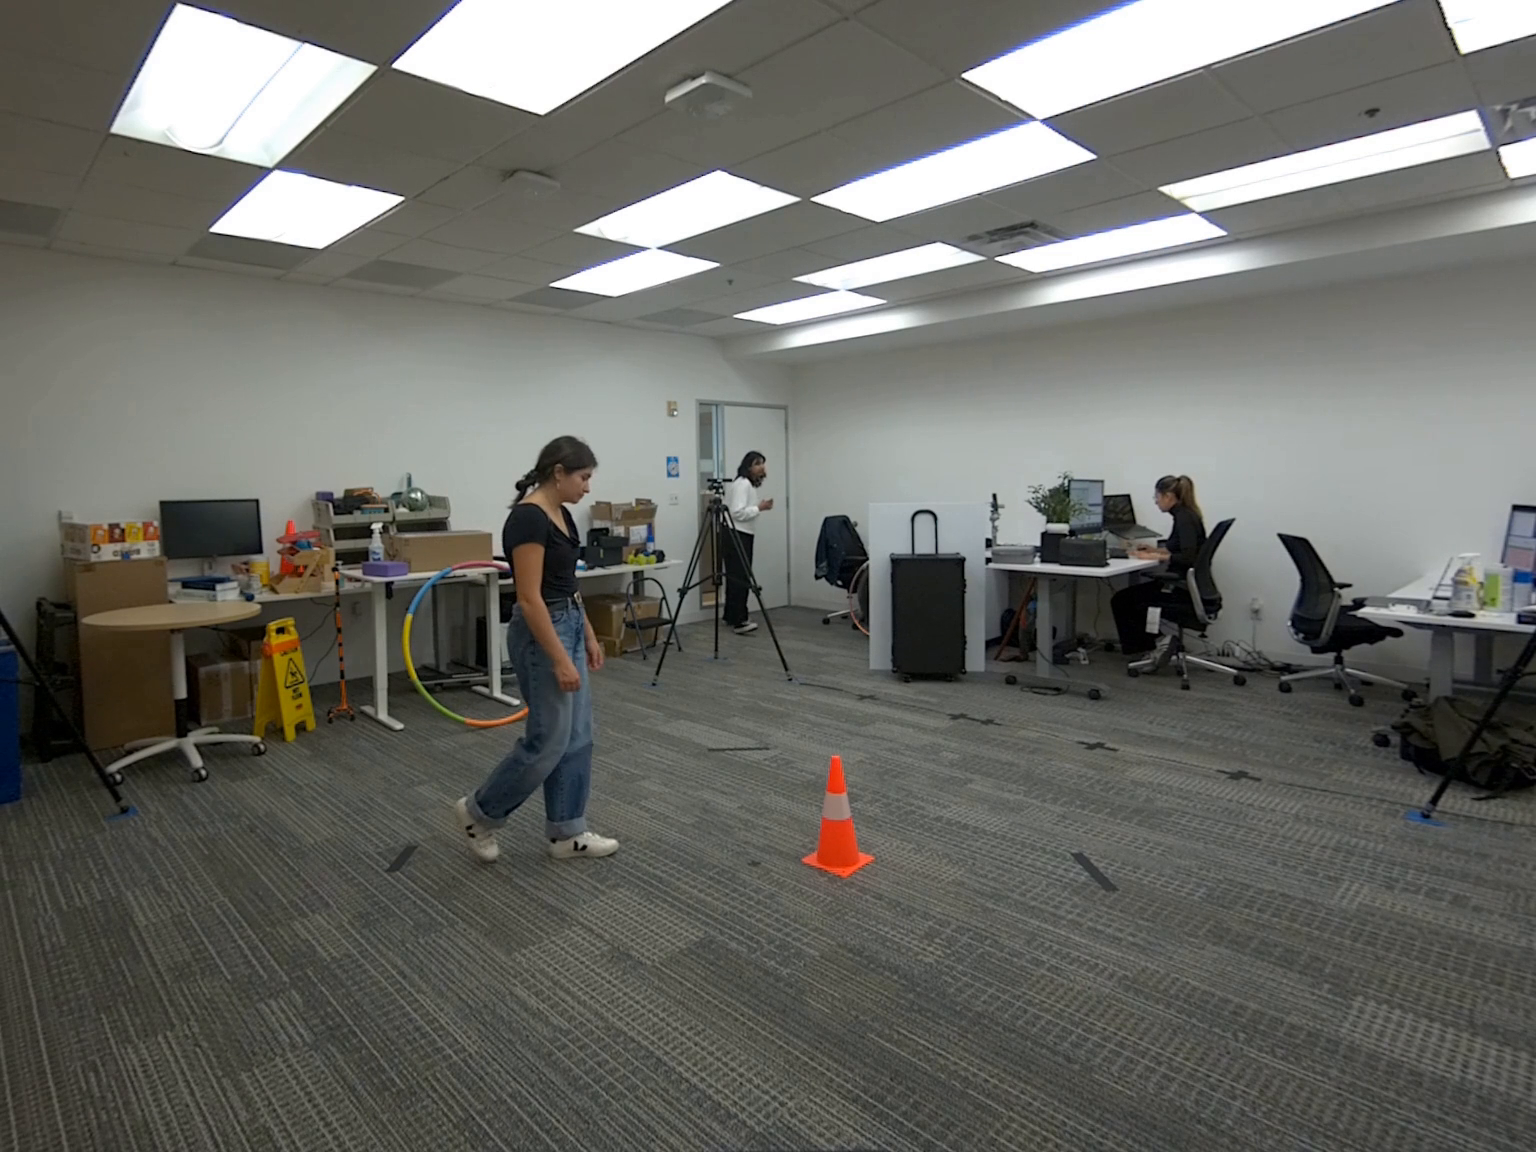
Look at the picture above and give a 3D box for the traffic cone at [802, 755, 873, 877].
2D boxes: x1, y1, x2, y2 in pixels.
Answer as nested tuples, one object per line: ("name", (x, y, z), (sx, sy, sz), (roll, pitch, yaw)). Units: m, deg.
("traffic cone", (0.250, 0.851, 3.111), (0.211, 0.382, 0.198), (2, 6, 39))
